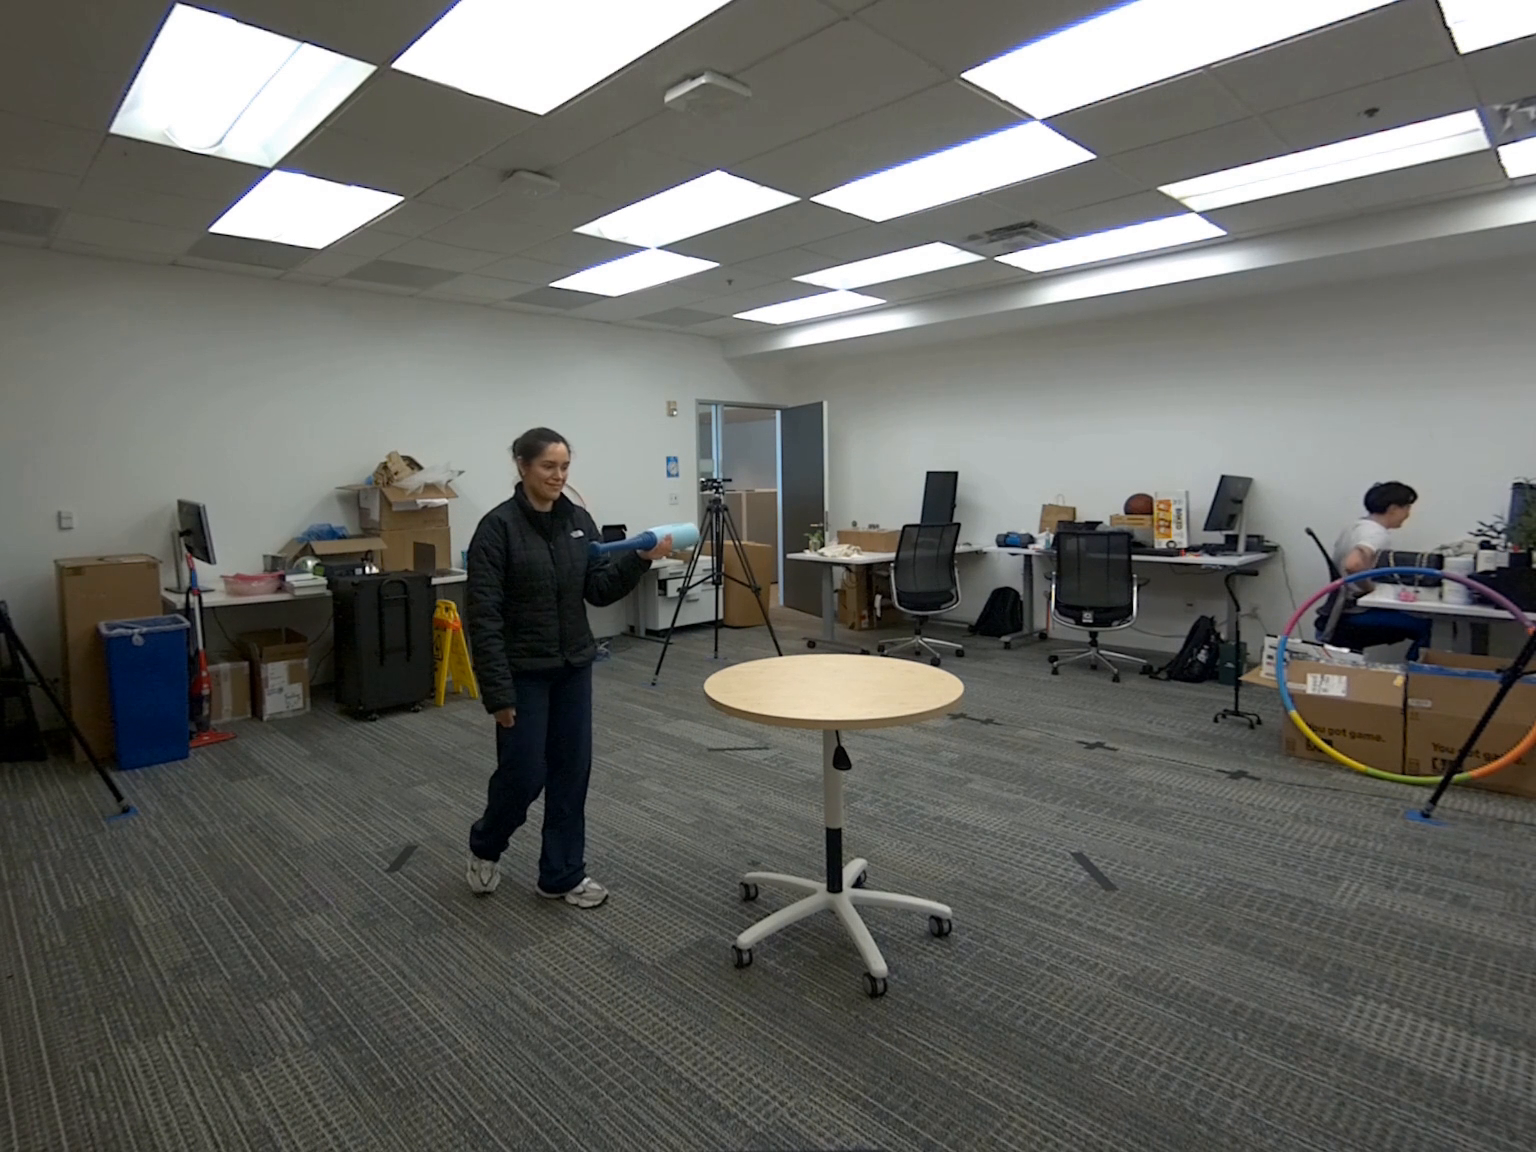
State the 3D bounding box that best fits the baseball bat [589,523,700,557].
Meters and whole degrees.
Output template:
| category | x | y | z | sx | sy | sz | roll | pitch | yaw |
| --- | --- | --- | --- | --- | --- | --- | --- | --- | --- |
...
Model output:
| category | x | y | z | sx | sy | sz | roll | pitch | yaw |
| --- | --- | --- | --- | --- | --- | --- | --- | --- | --- |
| baseball bat | -0.403 | -0.107 | 2.778 | 0.091 | 0.088 | 0.532 | 2 | 8 | 29 |
